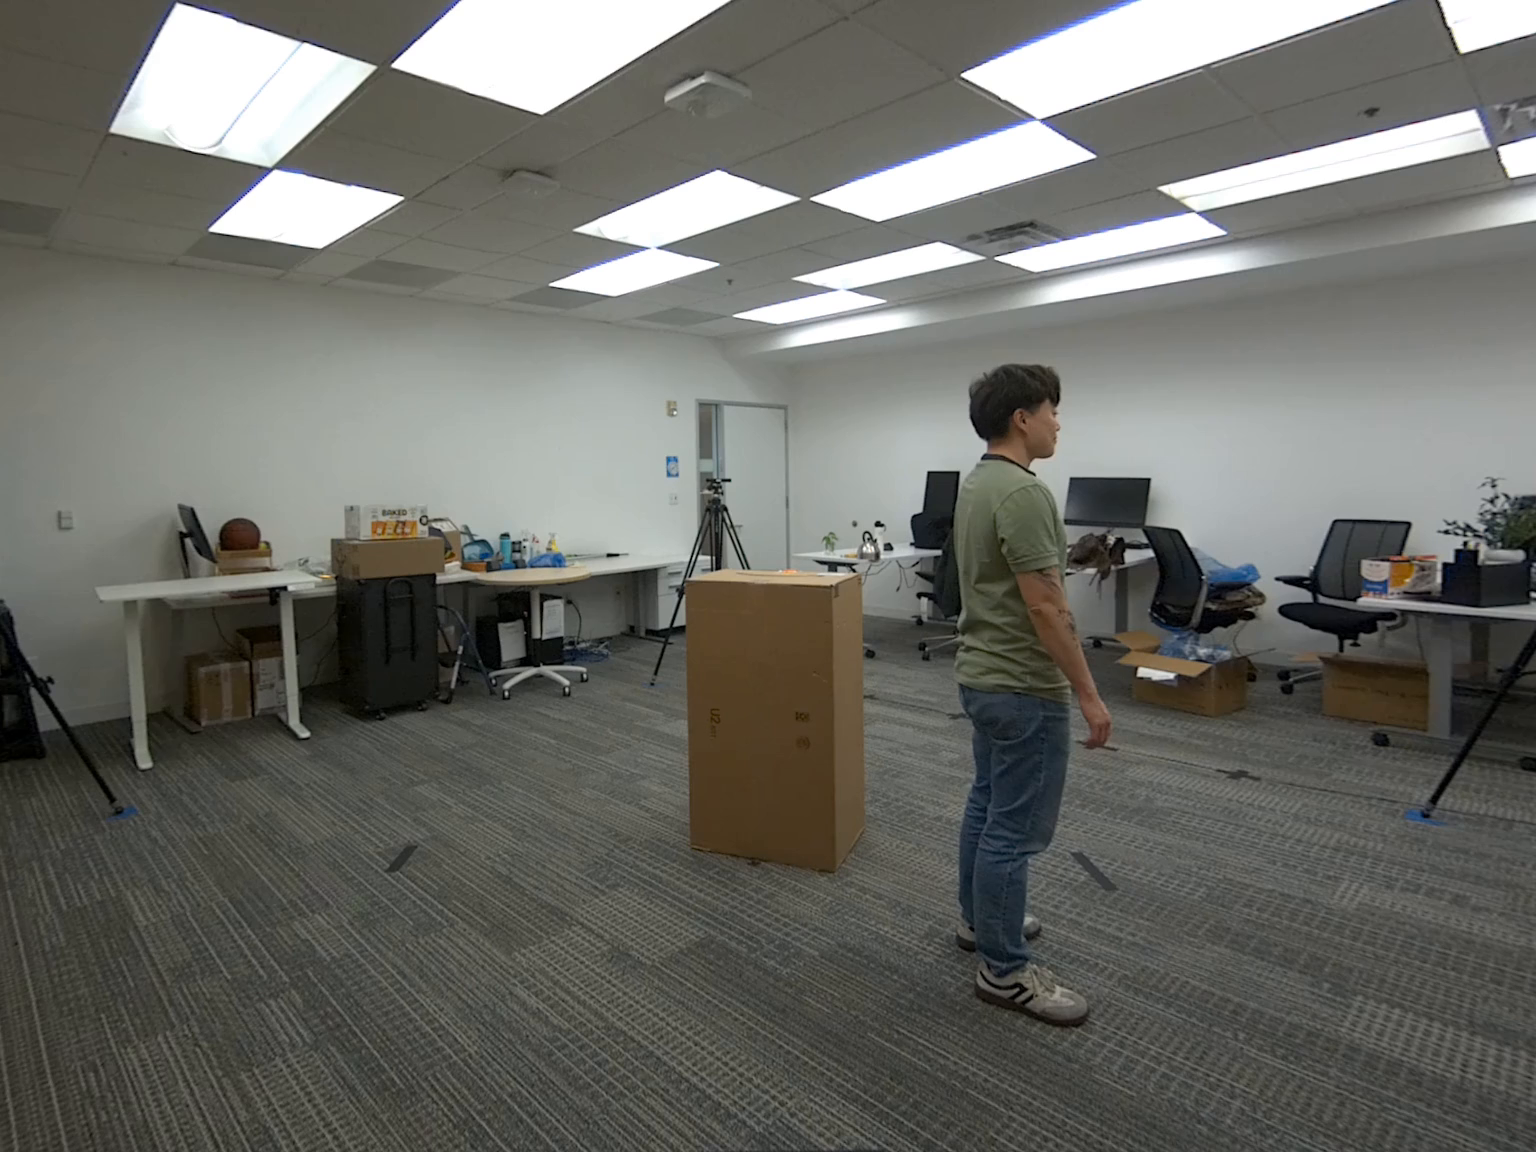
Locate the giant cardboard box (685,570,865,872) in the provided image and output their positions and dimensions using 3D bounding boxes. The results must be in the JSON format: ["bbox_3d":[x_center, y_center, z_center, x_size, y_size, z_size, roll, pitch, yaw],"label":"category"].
[{"bbox_3d":[0.036,0.510,3.293,0.590,1.022,0.418,1,4,23],"label":"giant cardboard box"}]
